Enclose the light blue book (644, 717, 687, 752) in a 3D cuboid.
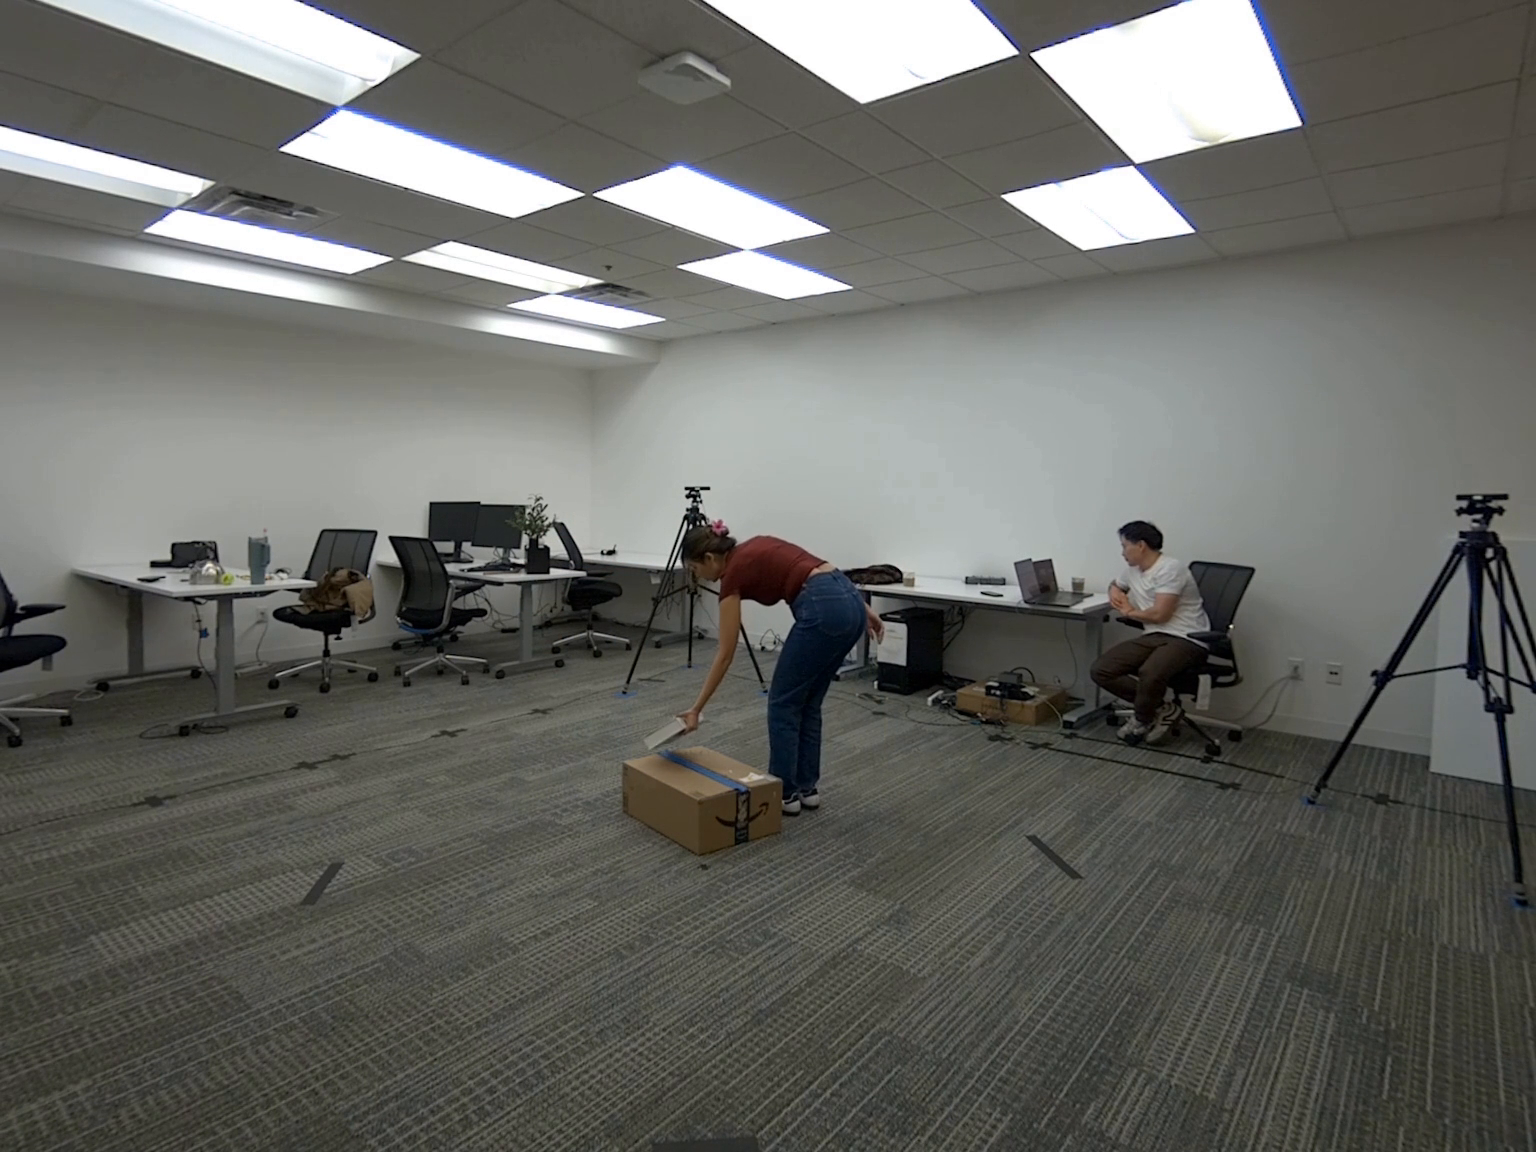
[{"bbox_3d":[-0.431,0.660,3.687,0.192,0.060,0.255,-31,-11,11],"label":"light blue book"}]
